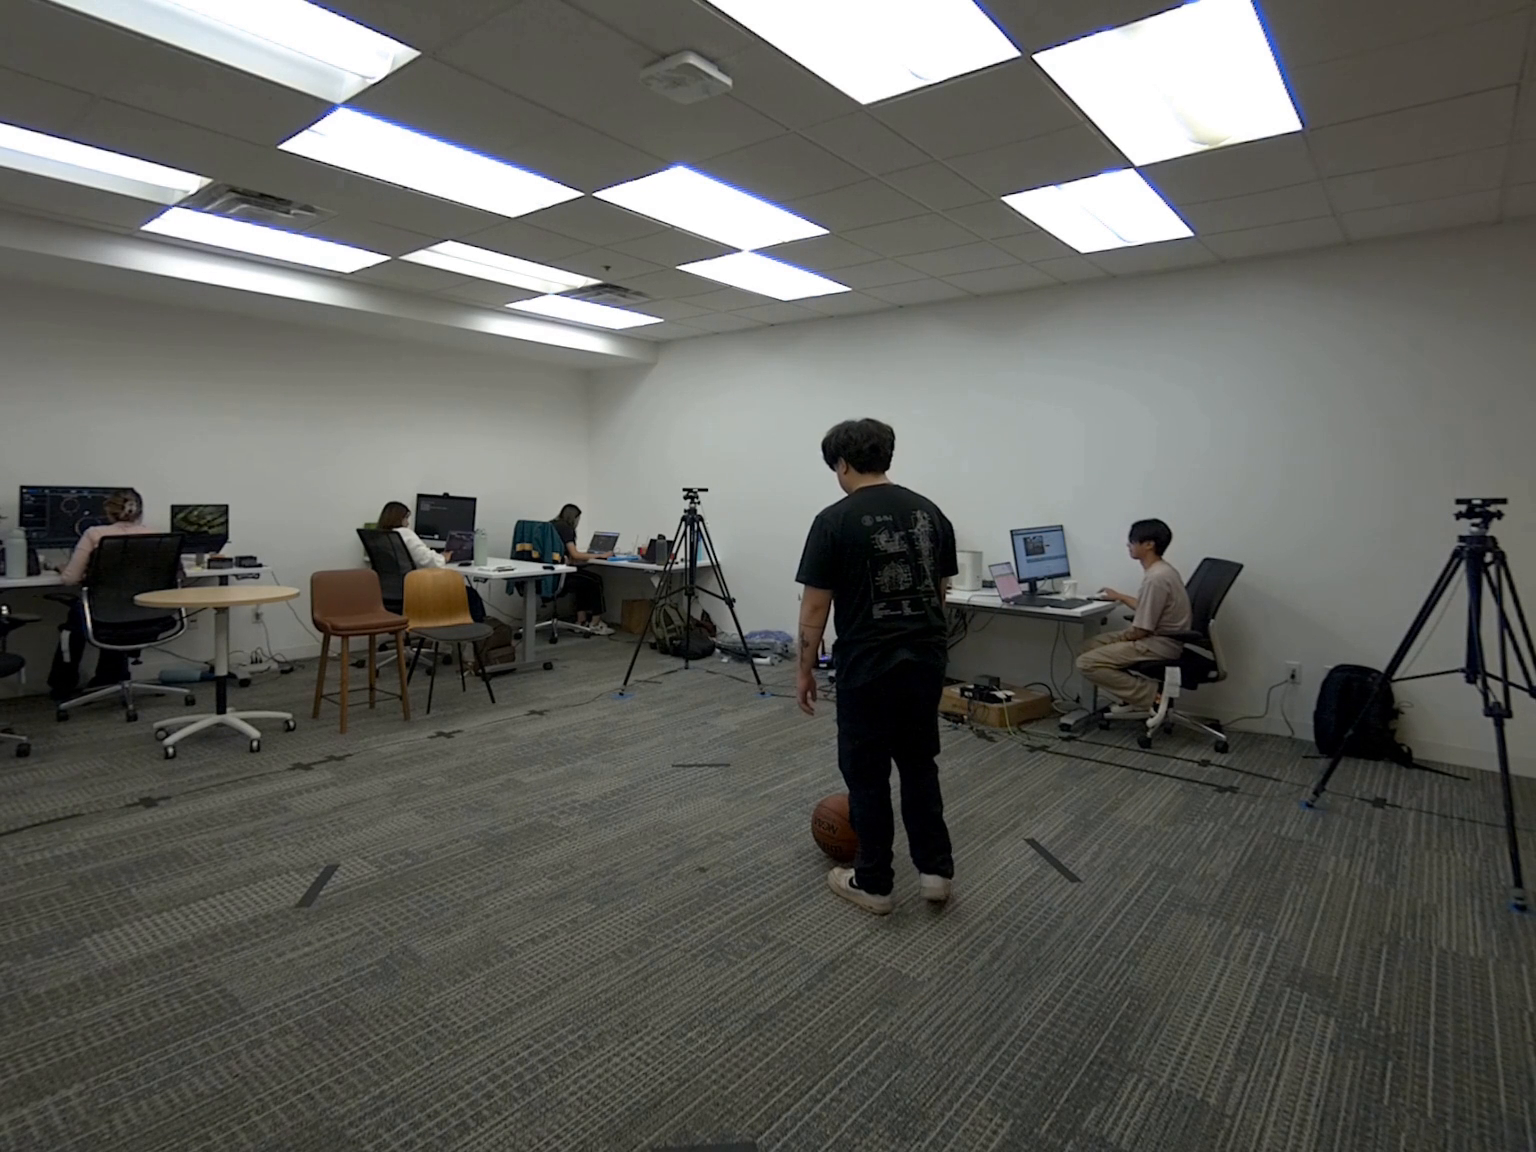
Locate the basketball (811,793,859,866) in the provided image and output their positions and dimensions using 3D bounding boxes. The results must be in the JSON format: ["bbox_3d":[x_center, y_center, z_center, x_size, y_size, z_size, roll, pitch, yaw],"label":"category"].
[{"bbox_3d":[0.272,0.943,3.233,0.235,0.235,0.237,1,4,-2],"label":"basketball"}]
